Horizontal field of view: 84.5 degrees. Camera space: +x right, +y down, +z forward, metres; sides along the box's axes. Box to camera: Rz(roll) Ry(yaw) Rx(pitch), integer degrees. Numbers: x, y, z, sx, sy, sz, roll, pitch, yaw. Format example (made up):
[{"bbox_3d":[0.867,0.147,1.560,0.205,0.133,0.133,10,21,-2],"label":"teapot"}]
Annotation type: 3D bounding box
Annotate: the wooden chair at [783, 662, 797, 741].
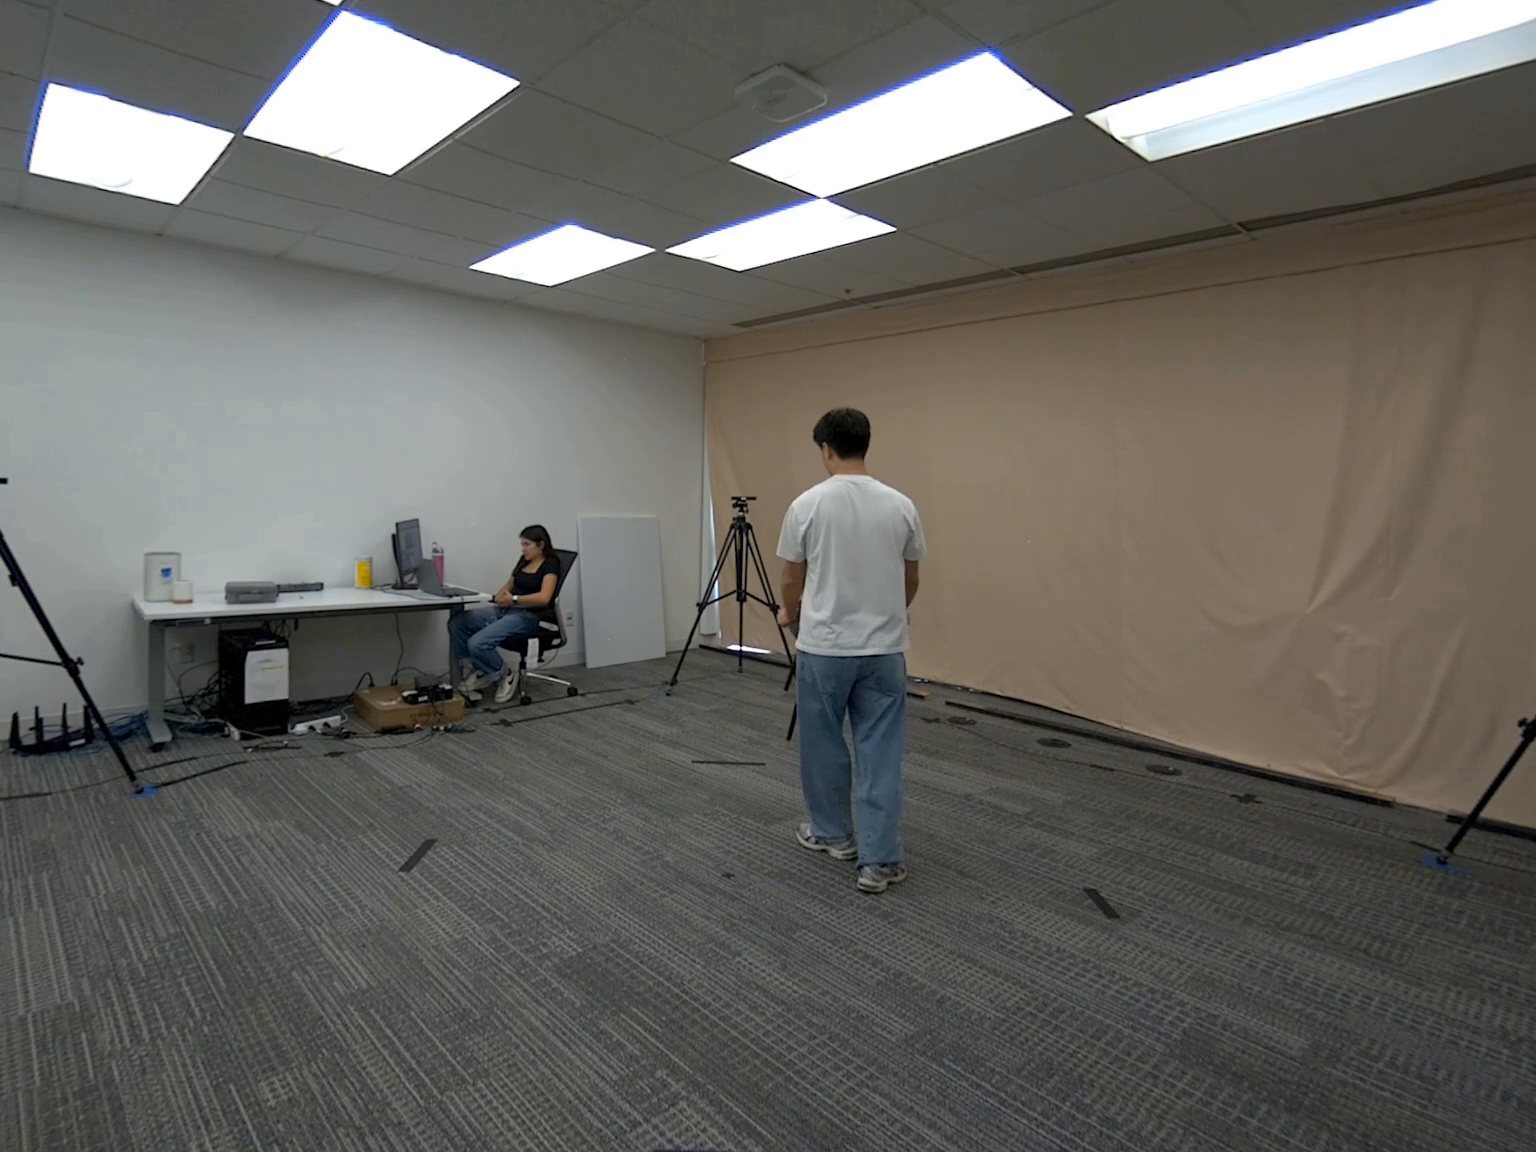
[{"bbox_3d":[0.305,0.213,3.537,0.479,0.868,0.528,1,14,1],"label":"wooden chair"}]
